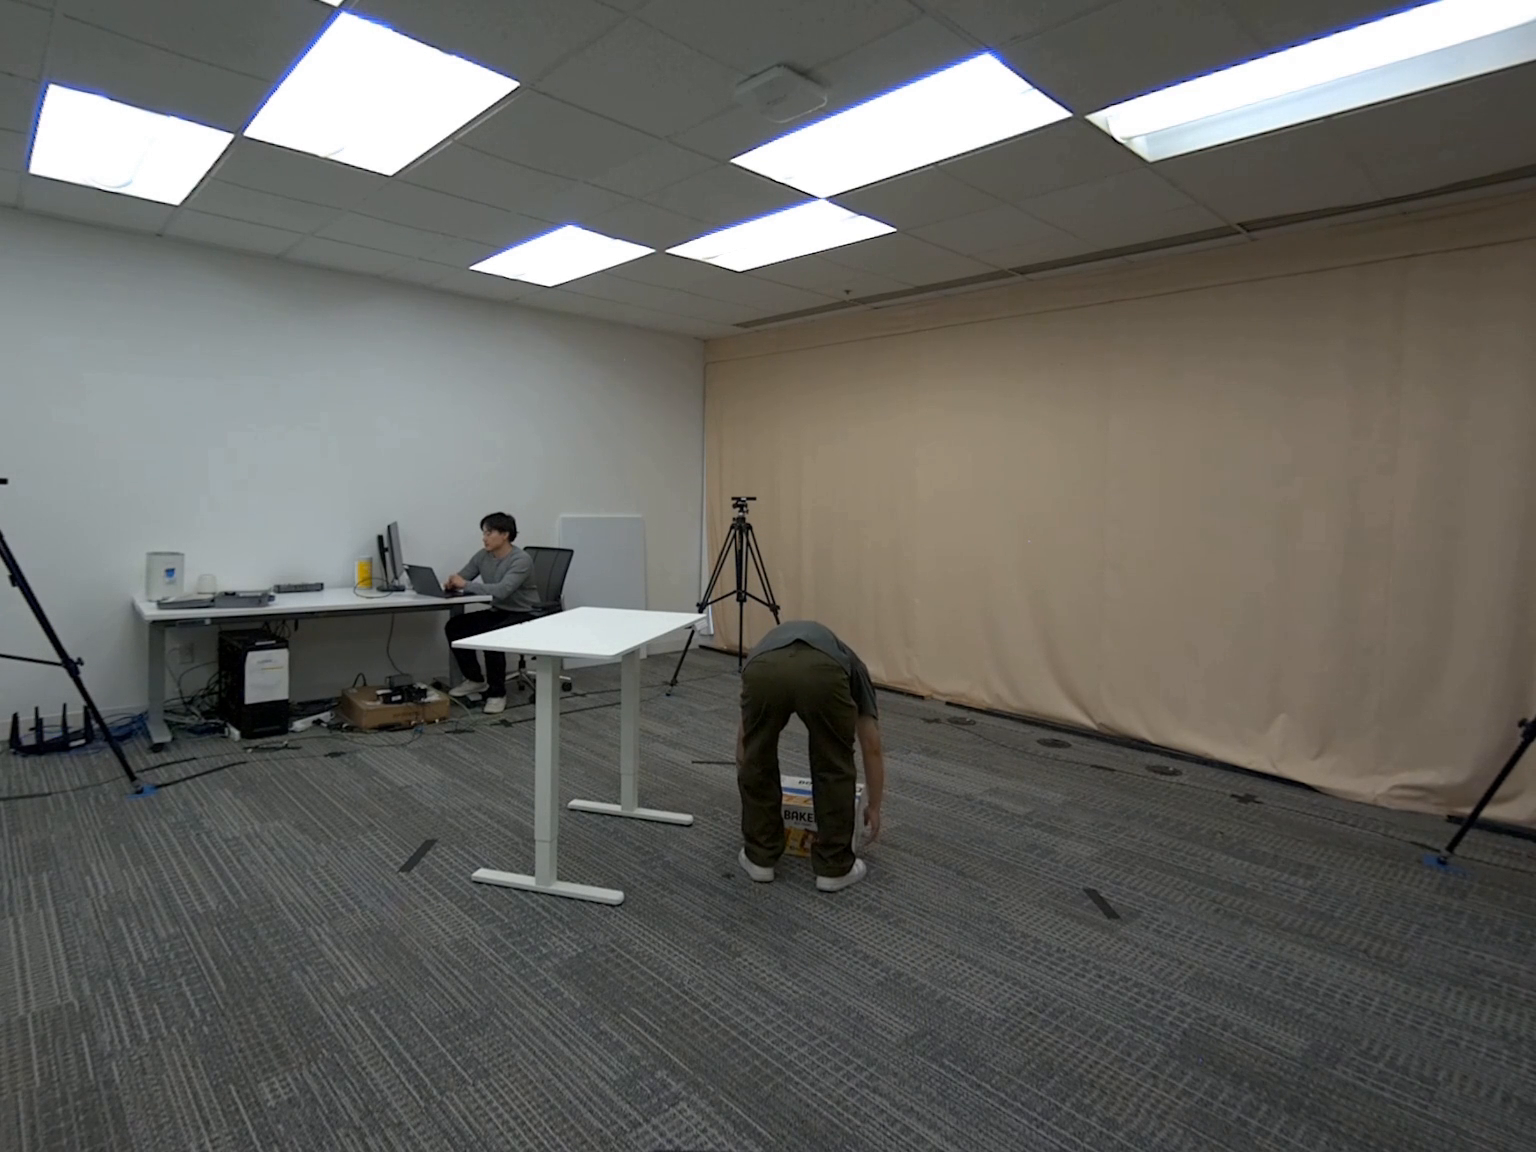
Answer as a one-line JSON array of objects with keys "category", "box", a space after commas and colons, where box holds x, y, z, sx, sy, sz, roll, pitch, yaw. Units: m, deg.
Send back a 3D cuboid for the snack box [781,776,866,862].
[{"category": "snack box", "box": [0.167, 0.985, 3.442, 0.410, 0.205, 0.337, 2, 5, 14]}]
